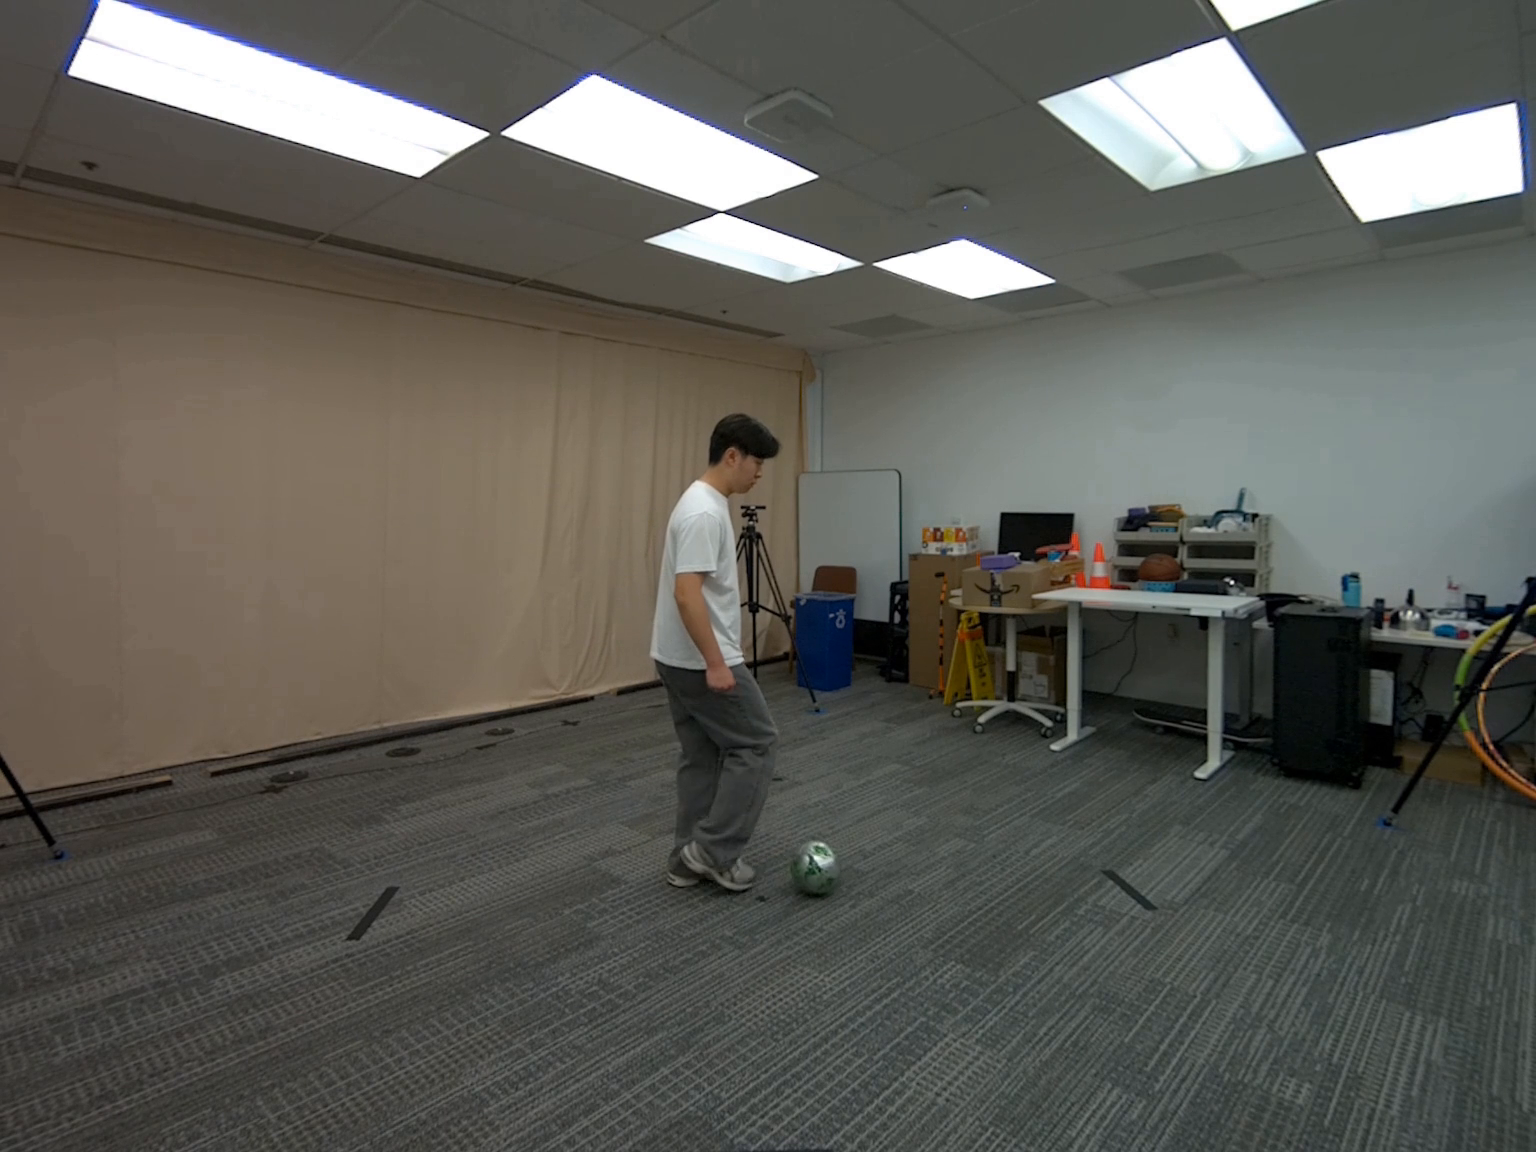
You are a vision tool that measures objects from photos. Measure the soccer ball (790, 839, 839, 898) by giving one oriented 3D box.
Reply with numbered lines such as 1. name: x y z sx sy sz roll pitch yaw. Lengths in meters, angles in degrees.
1. soccer ball: 0.181 1.051 3.015 0.187 0.187 0.188 0 4 -2
